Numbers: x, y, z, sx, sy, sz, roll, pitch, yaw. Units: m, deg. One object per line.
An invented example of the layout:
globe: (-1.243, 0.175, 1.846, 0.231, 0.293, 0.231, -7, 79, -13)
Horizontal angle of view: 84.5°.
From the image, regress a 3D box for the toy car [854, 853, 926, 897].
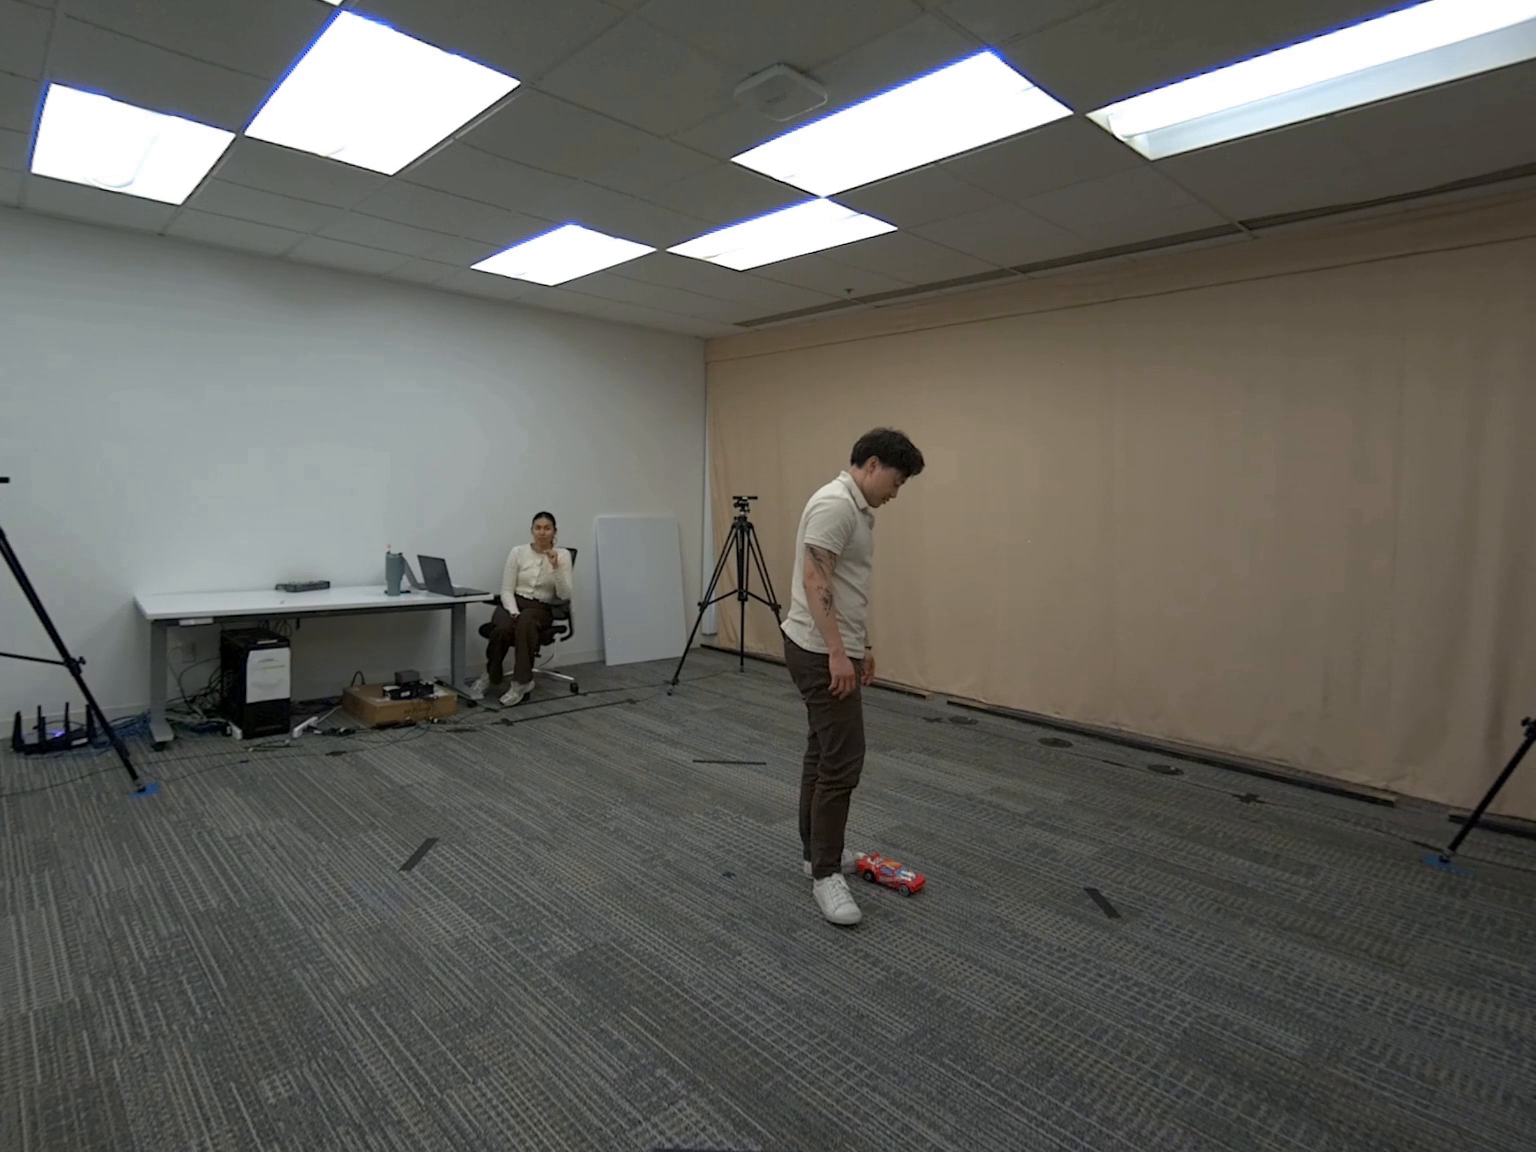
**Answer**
toy car: (0.437, 1.088, 3.071, 0.262, 0.083, 0.127, 19, 14, 40)
